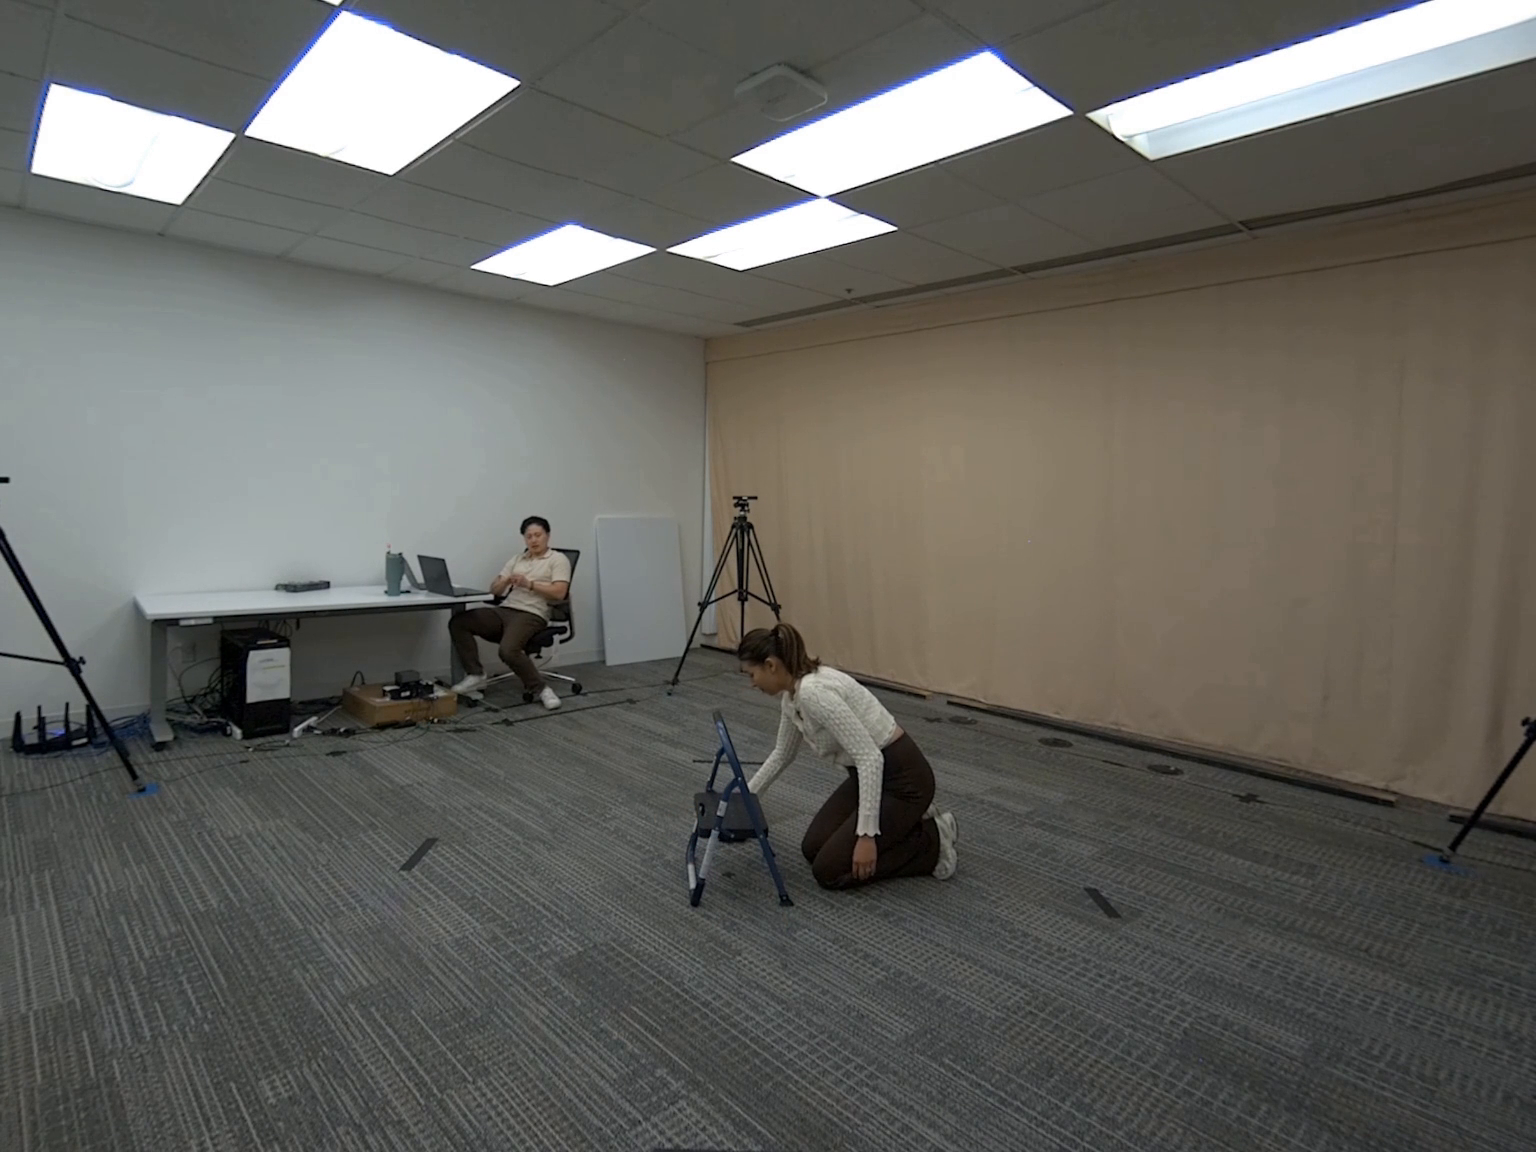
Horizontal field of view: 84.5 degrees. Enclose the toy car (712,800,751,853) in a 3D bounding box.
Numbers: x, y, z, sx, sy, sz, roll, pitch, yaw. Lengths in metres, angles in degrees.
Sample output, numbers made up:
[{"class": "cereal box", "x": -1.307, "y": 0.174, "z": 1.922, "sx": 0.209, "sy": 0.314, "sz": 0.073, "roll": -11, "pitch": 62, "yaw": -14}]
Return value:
[{"class": "toy car", "x": -0.157, "y": 1.034, "z": 3.514, "sx": 0.129, "sy": 0.082, "sz": 0.258, "roll": 0, "pitch": 15, "yaw": -8}]
